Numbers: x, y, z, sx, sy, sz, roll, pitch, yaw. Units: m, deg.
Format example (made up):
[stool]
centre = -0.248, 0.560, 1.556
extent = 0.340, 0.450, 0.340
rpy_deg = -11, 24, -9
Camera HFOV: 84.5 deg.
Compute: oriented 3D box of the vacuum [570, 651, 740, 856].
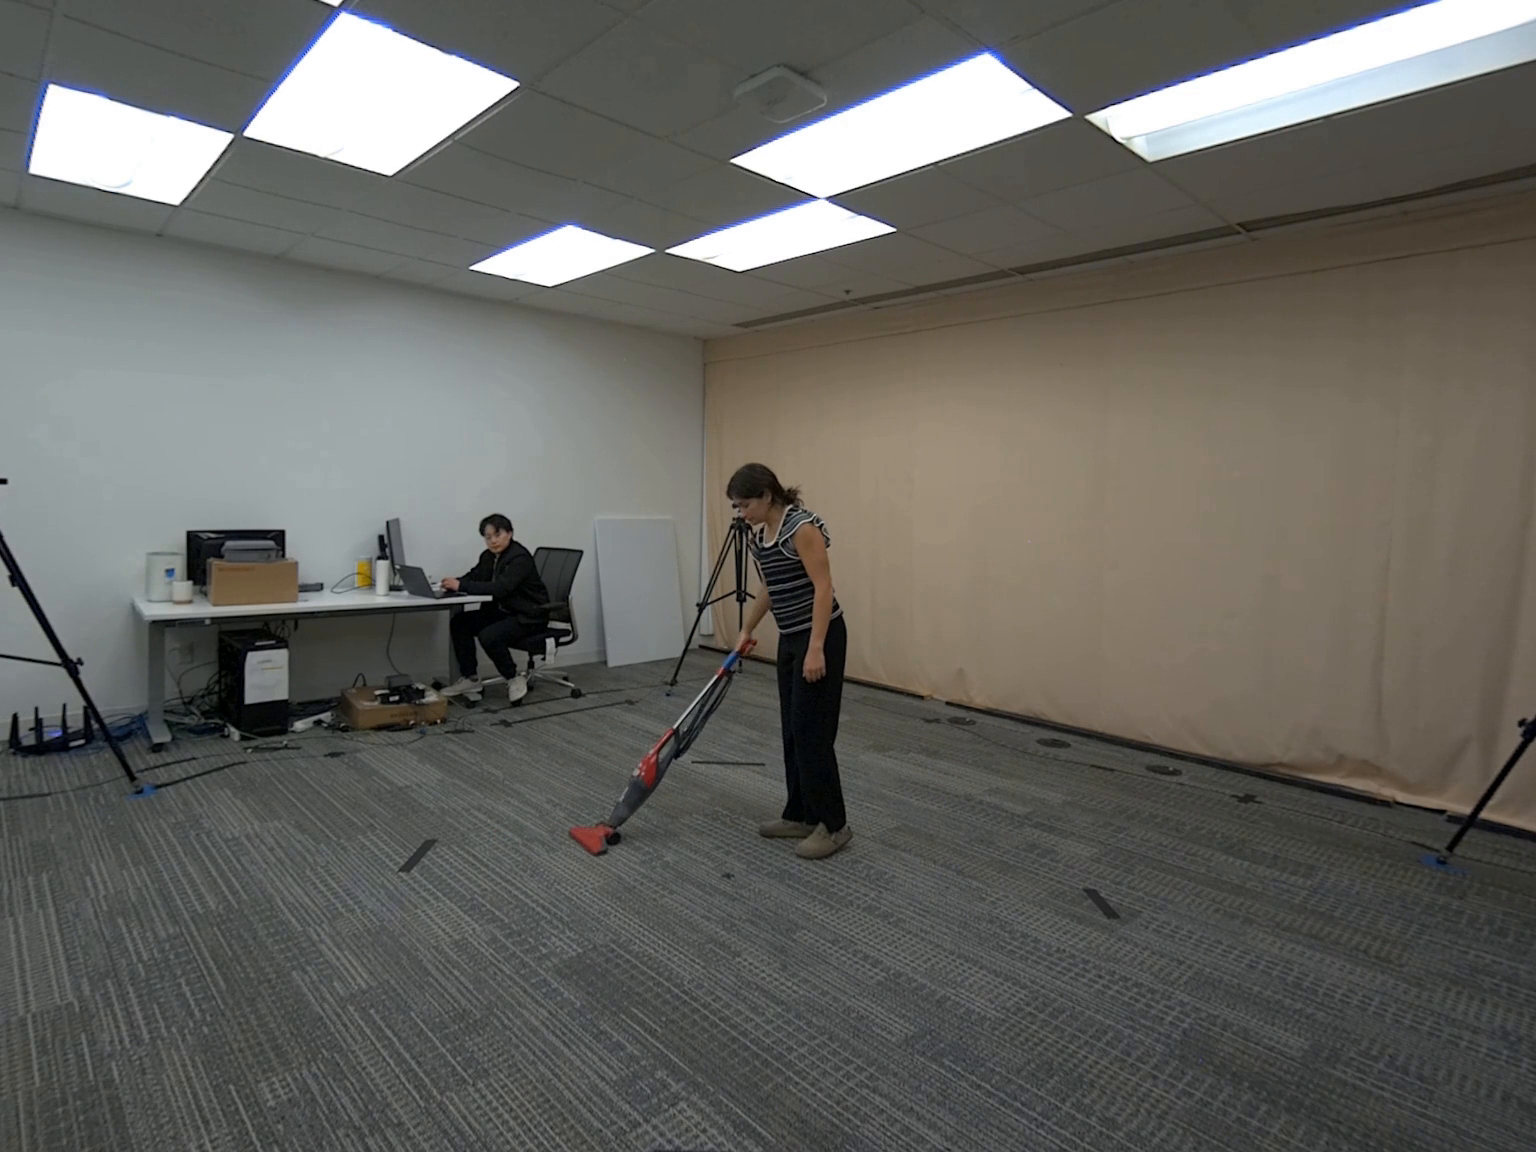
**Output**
[vacuum]
centre = -0.387, 0.684, 3.549
extent = 1.050, 0.140, 0.259
rpy_deg = -49, 28, -20
